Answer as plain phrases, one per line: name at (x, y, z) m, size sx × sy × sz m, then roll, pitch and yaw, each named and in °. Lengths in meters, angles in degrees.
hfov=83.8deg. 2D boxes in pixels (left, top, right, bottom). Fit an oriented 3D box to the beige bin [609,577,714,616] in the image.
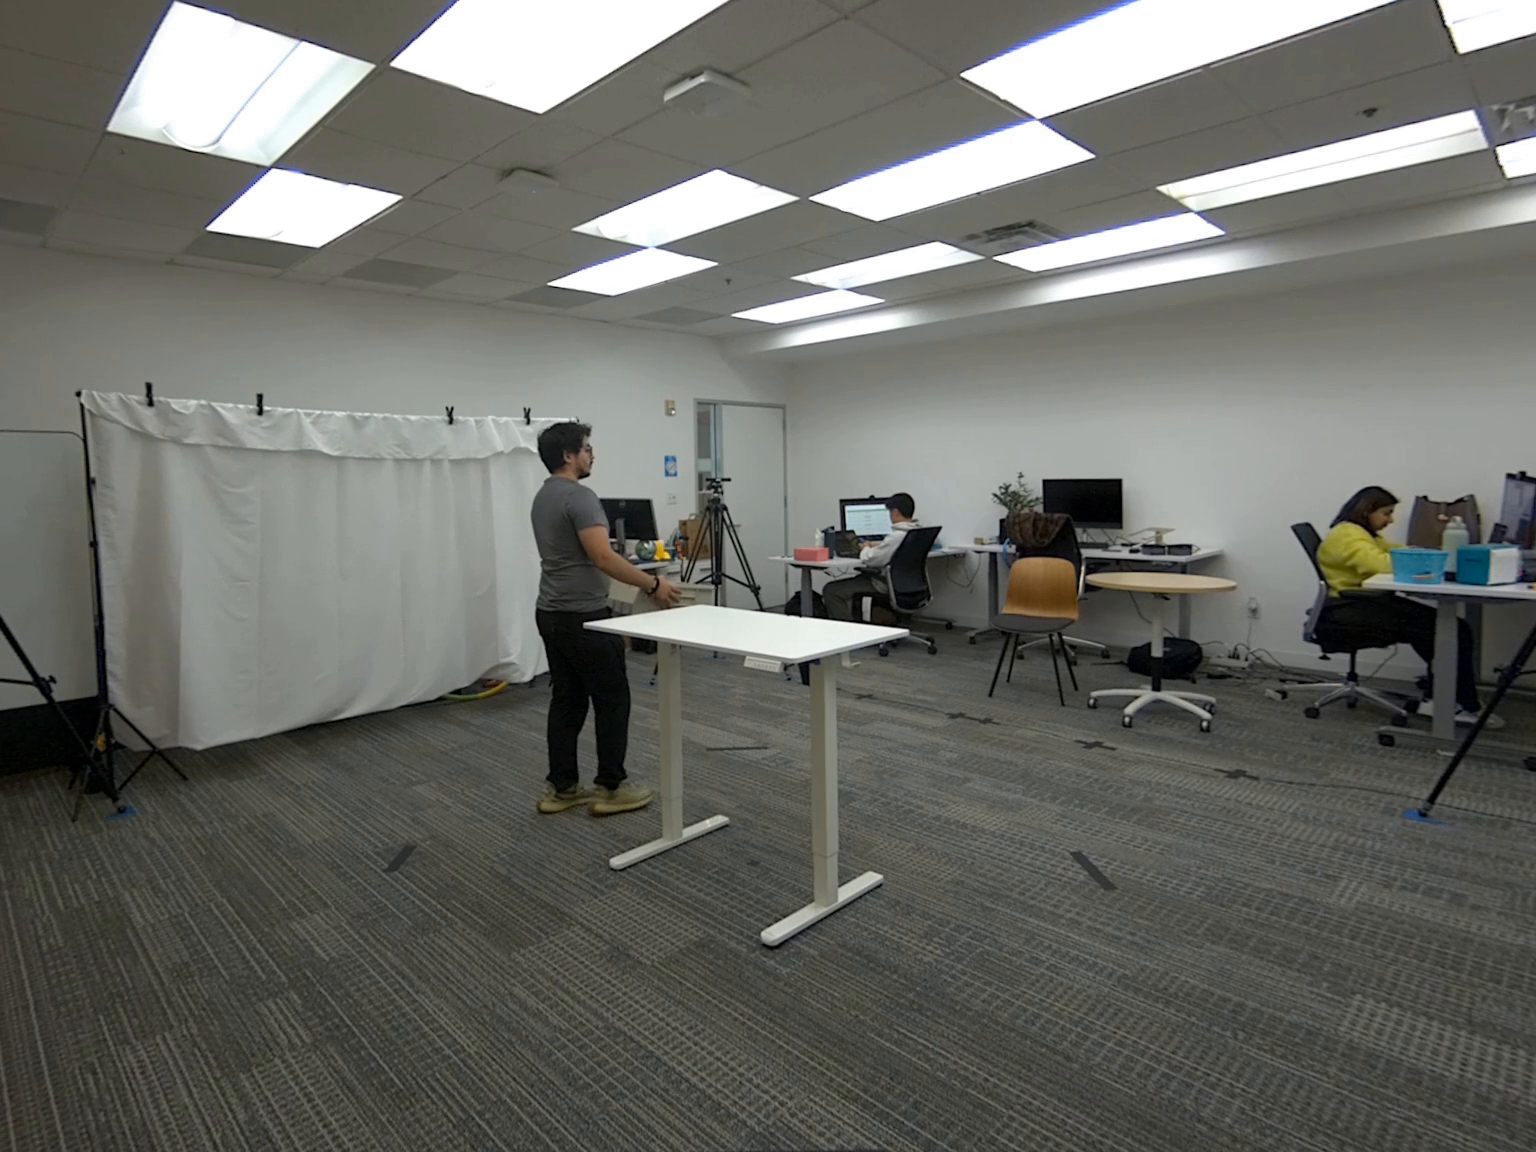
beige bin at (-0.495, 0.114, 3.830) m, size 0.368 × 0.189 × 0.433 m, roll 4°, pitch -1°, yaw -29°
